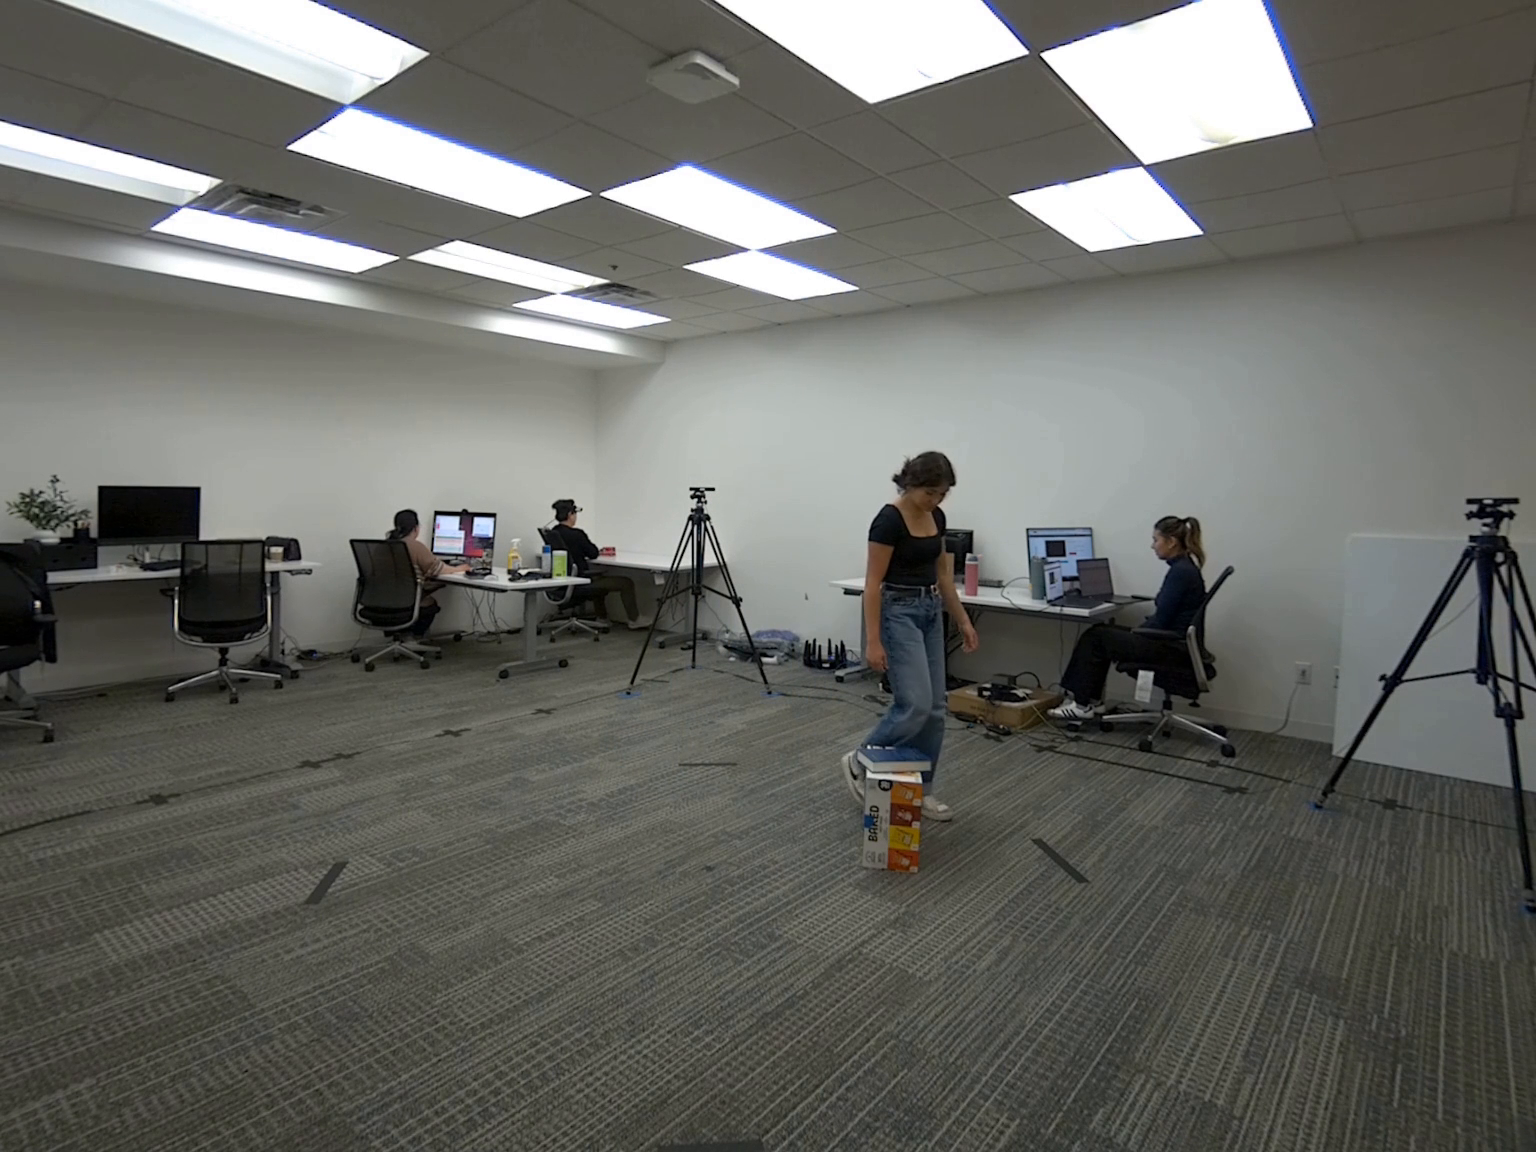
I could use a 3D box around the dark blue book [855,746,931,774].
[{"bbox_3d":[0.486,0.701,3.269,0.242,0.045,0.166,0,6,-13],"label":"dark blue book"}]
